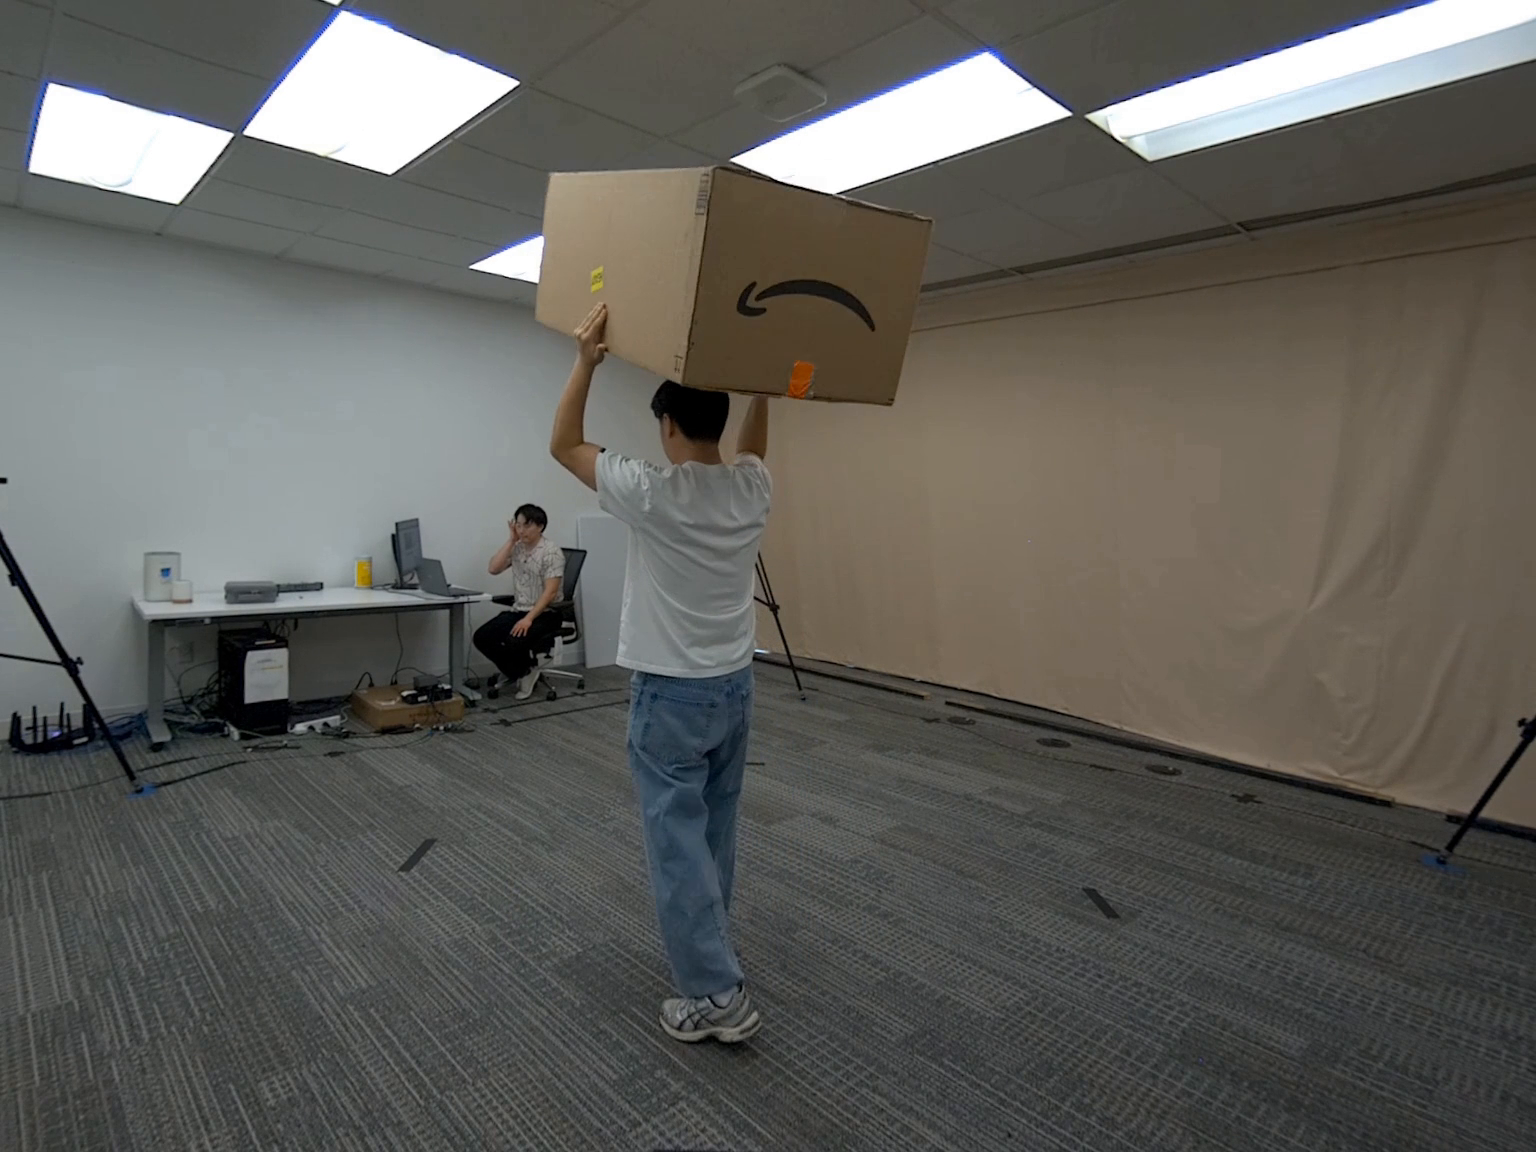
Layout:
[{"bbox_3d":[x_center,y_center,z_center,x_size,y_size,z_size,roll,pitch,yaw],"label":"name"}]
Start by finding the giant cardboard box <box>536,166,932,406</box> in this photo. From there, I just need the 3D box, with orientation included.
[{"bbox_3d":[-0.172,-0.773,2.223,0.565,0.422,1.058,-1,21,-32],"label":"giant cardboard box"}]
